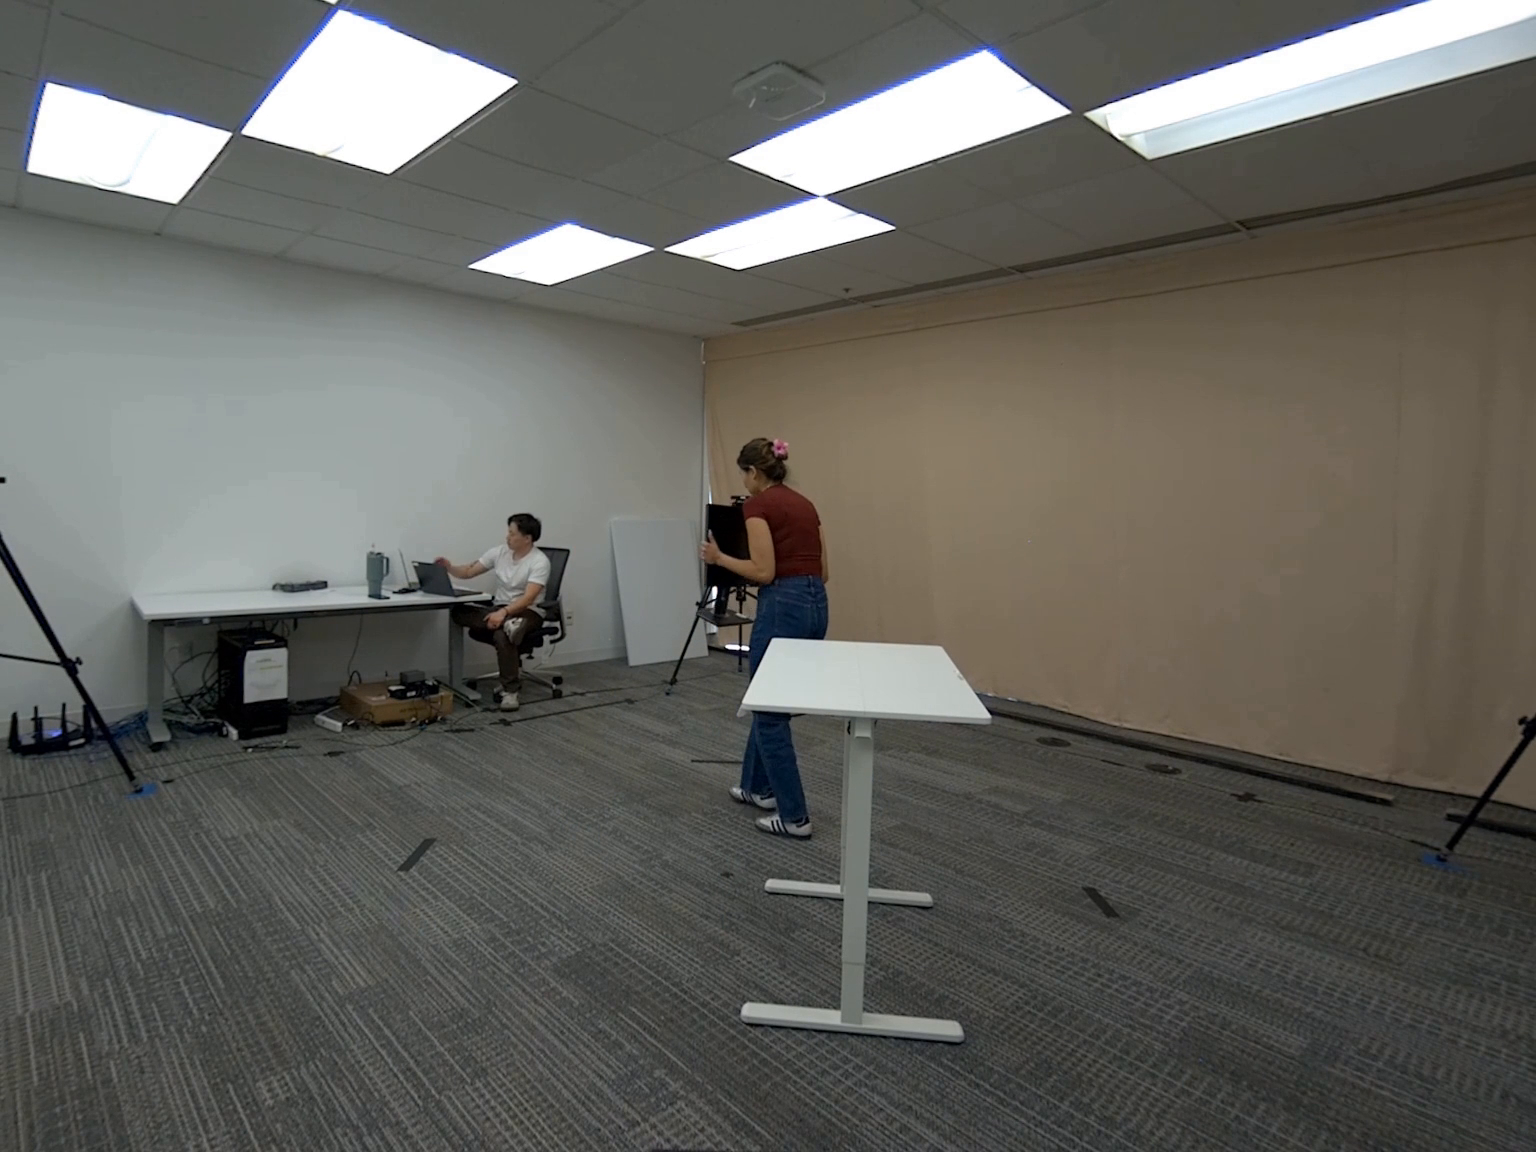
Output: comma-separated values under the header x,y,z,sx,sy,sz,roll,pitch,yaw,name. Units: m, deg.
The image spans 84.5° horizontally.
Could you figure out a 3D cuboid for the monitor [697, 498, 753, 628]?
x,y,z,sx,sy,sz,roll,pitch,yaw,name
-0.140,-0.044,3.767,0.192,0.520,0.526,18,10,36,monitor
